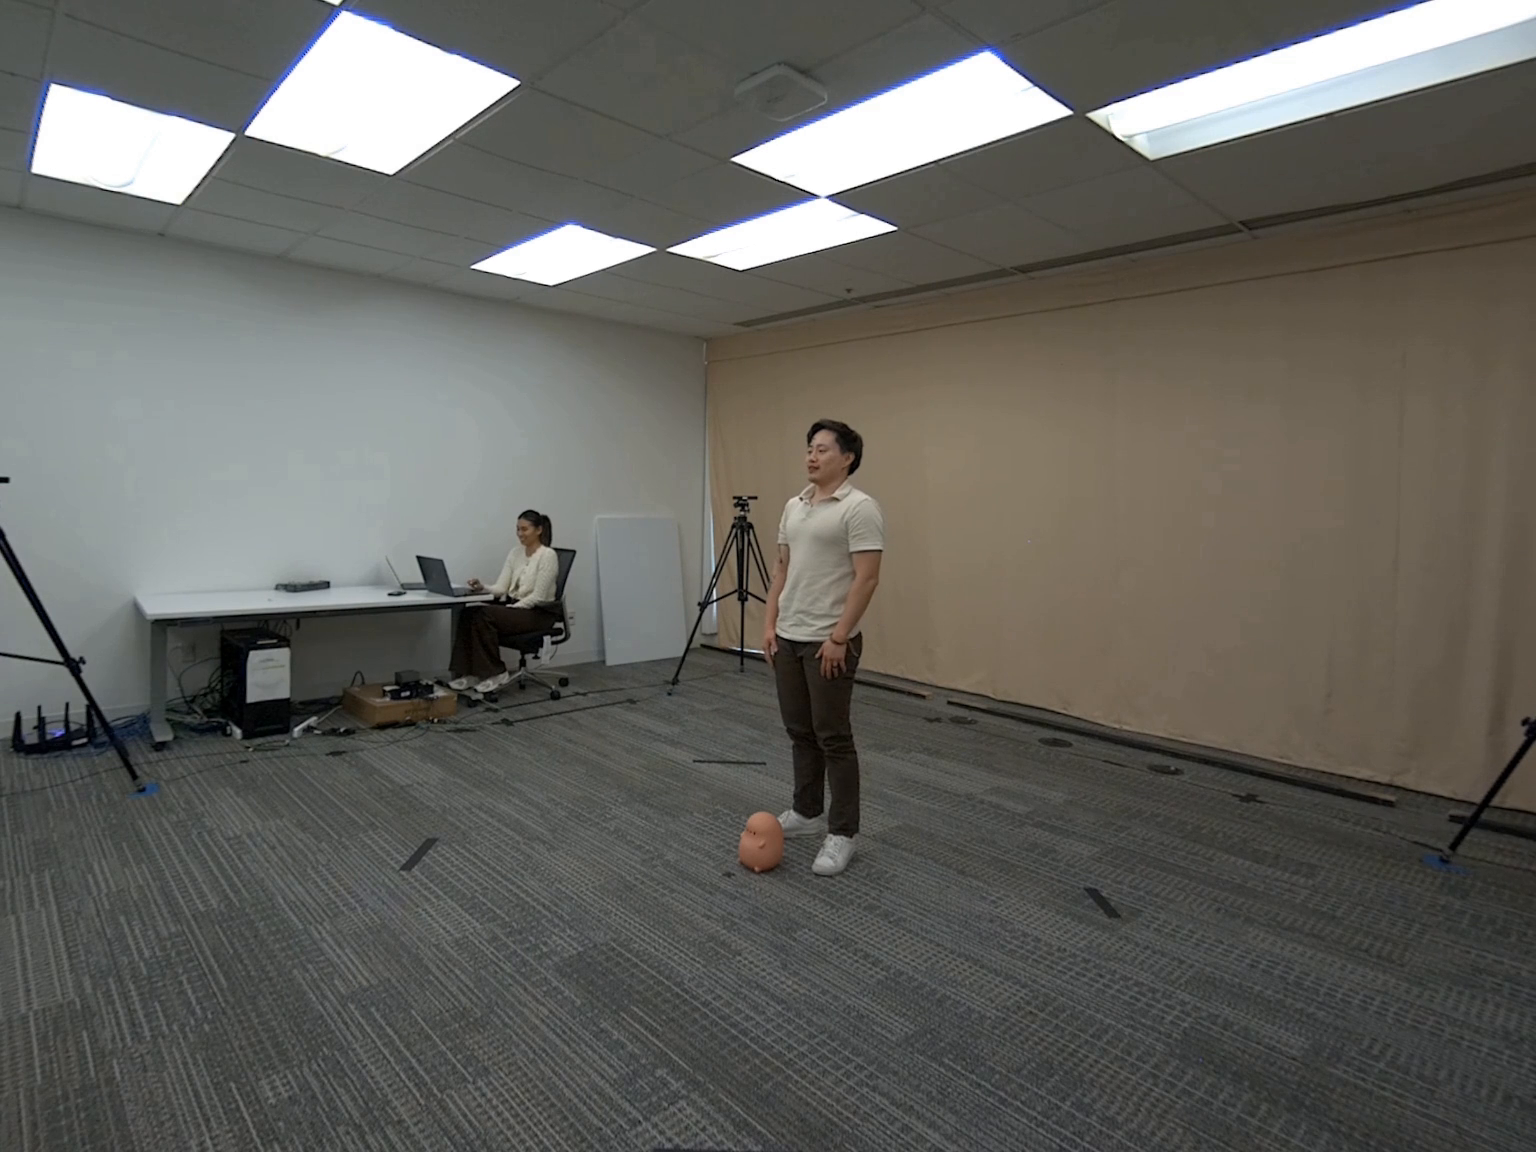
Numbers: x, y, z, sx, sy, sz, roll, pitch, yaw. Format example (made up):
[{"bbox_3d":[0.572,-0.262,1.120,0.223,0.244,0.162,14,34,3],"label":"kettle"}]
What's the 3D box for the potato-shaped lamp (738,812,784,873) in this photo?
[{"bbox_3d":[-0.035,0.999,3.190,0.167,0.197,0.169,-3,7,-44],"label":"potato-shaped lamp"}]
